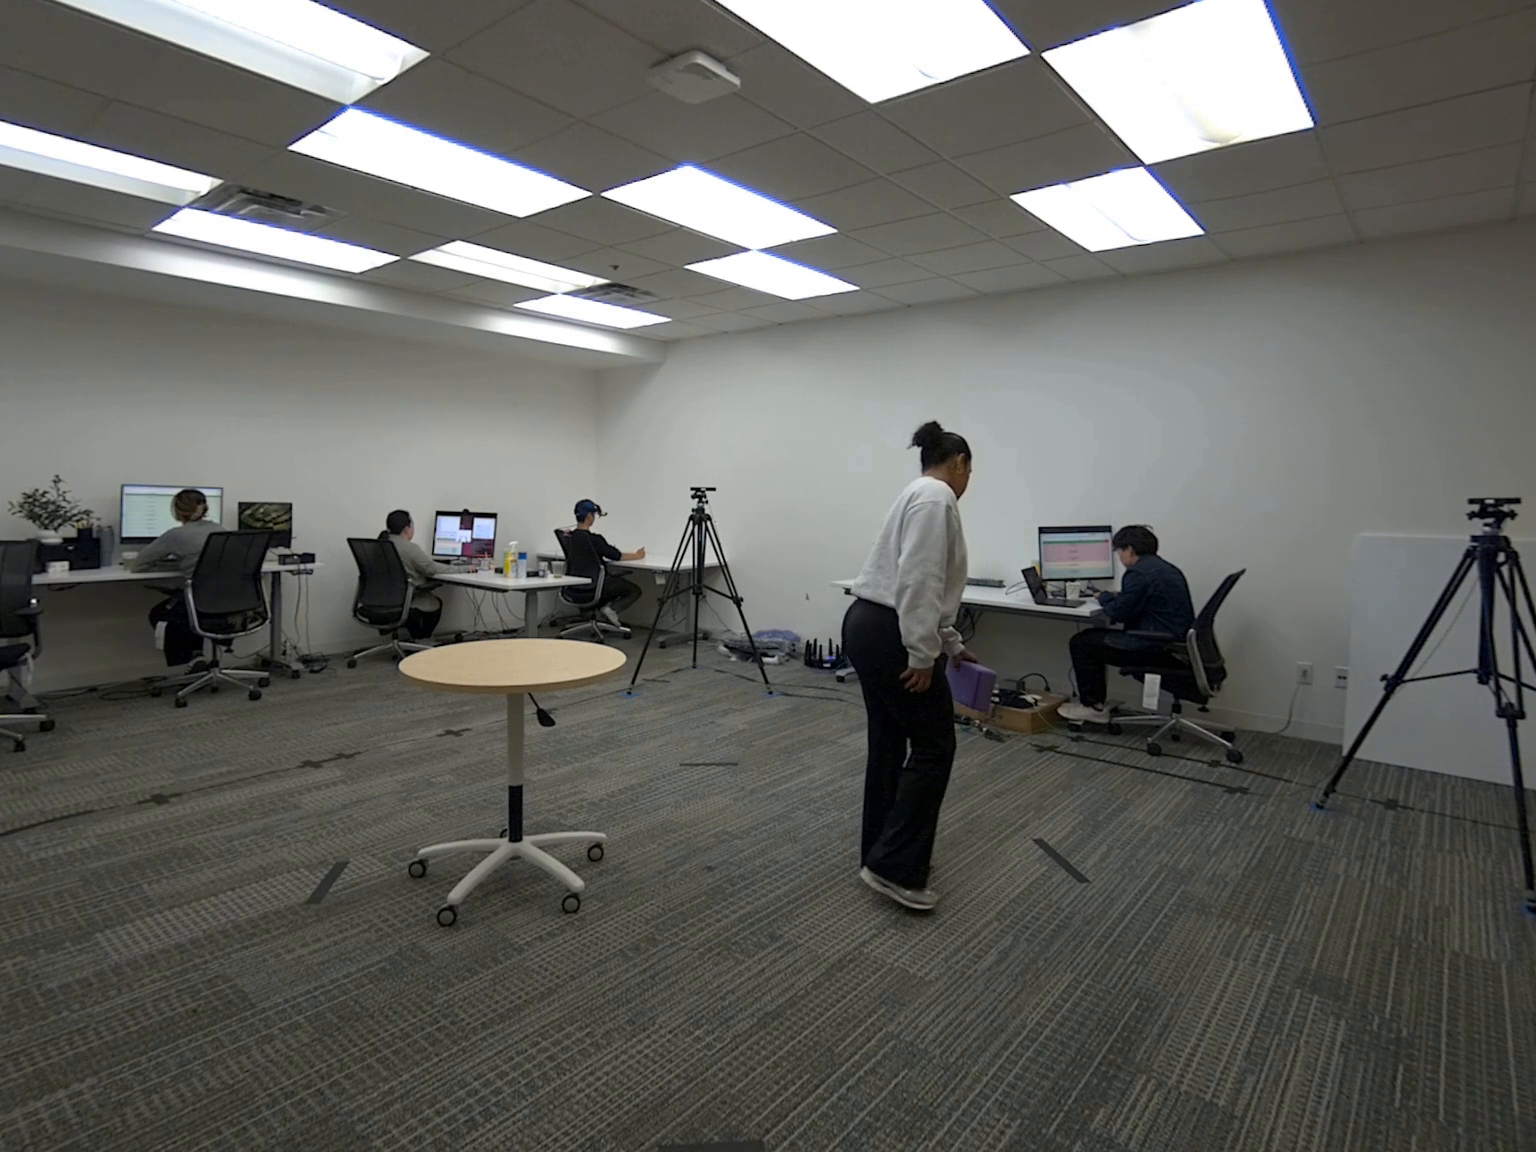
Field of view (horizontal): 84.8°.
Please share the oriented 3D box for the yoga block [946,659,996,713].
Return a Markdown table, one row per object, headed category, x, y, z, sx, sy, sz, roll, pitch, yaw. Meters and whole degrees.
| category | x | y | z | sx | sy | sz | roll | pitch | yaw |
| --- | --- | --- | --- | --- | --- | --- | --- | --- | --- |
| yoga block | 0.734 | 0.397 | 3.160 | 0.075 | 0.149 | 0.234 | 10 | 2 | -16 |
